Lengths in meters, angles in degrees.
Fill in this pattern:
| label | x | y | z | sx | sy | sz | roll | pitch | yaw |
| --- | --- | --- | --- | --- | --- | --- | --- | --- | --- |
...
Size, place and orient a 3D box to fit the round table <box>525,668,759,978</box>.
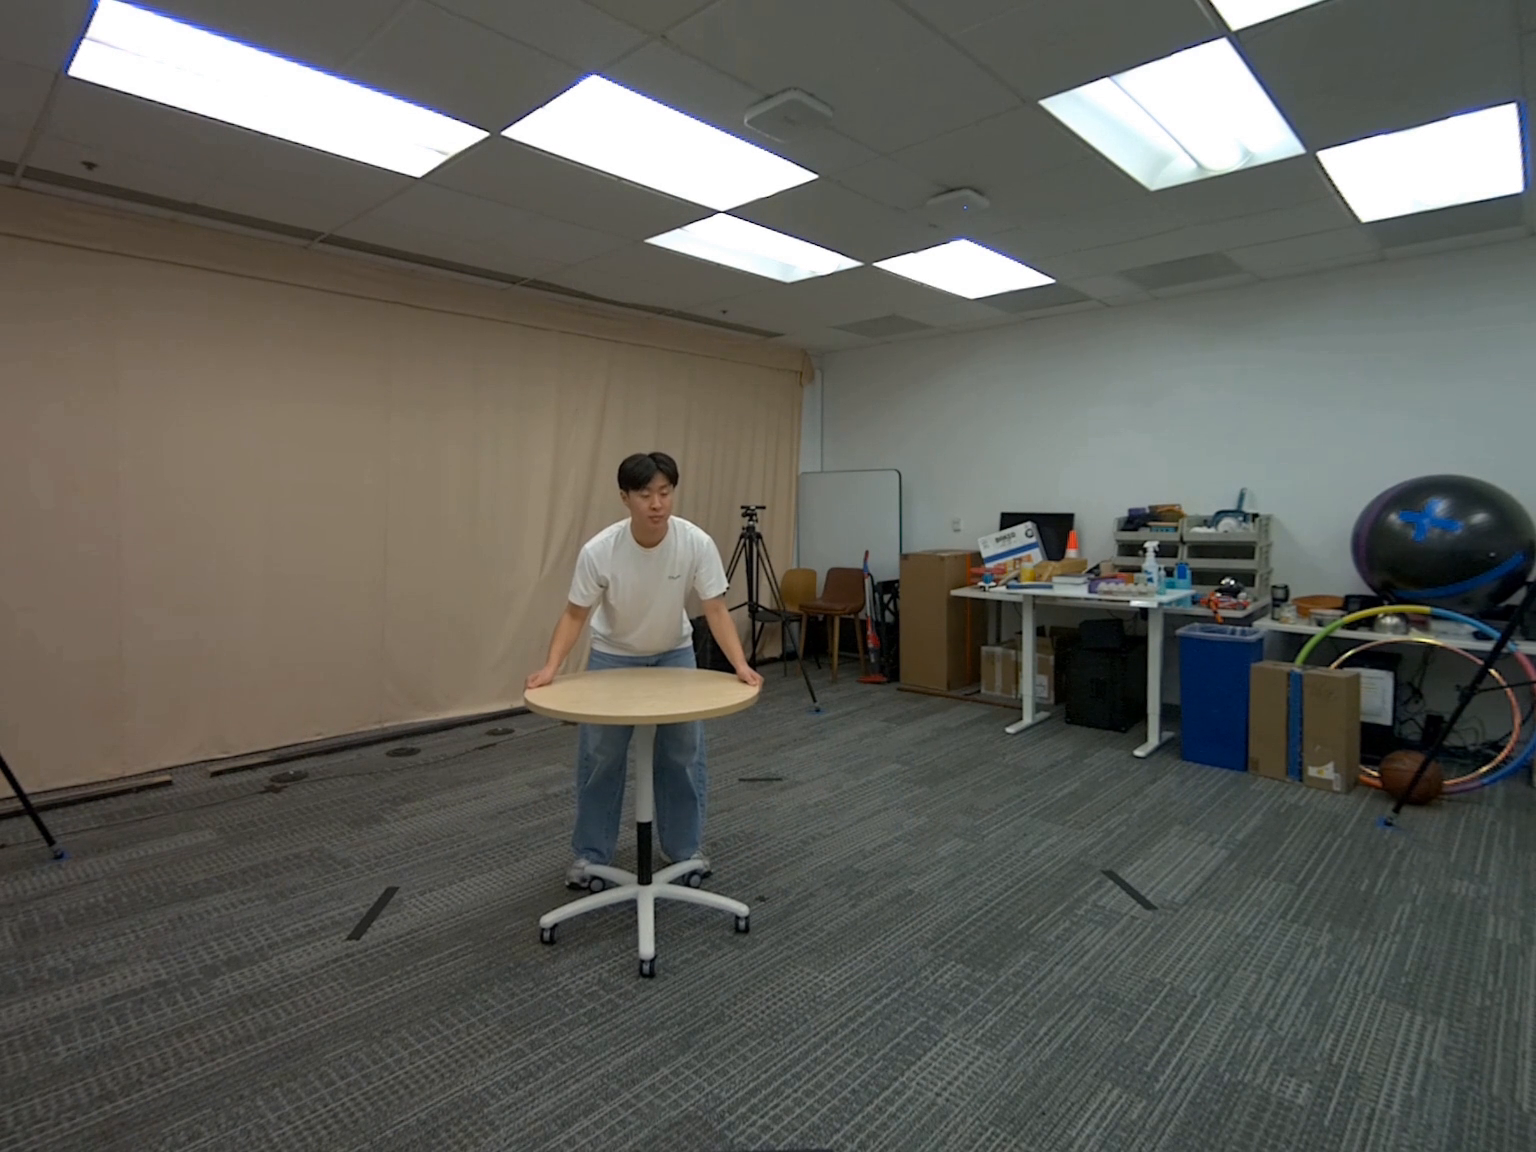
| label | x | y | z | sx | sy | sz | roll | pitch | yaw |
| --- | --- | --- | --- | --- | --- | --- | --- | --- | --- |
| round table | -0.394 | 0.759 | 2.787 | 0.784 | 0.785 | 0.787 | 0 | 3 | -2 |
